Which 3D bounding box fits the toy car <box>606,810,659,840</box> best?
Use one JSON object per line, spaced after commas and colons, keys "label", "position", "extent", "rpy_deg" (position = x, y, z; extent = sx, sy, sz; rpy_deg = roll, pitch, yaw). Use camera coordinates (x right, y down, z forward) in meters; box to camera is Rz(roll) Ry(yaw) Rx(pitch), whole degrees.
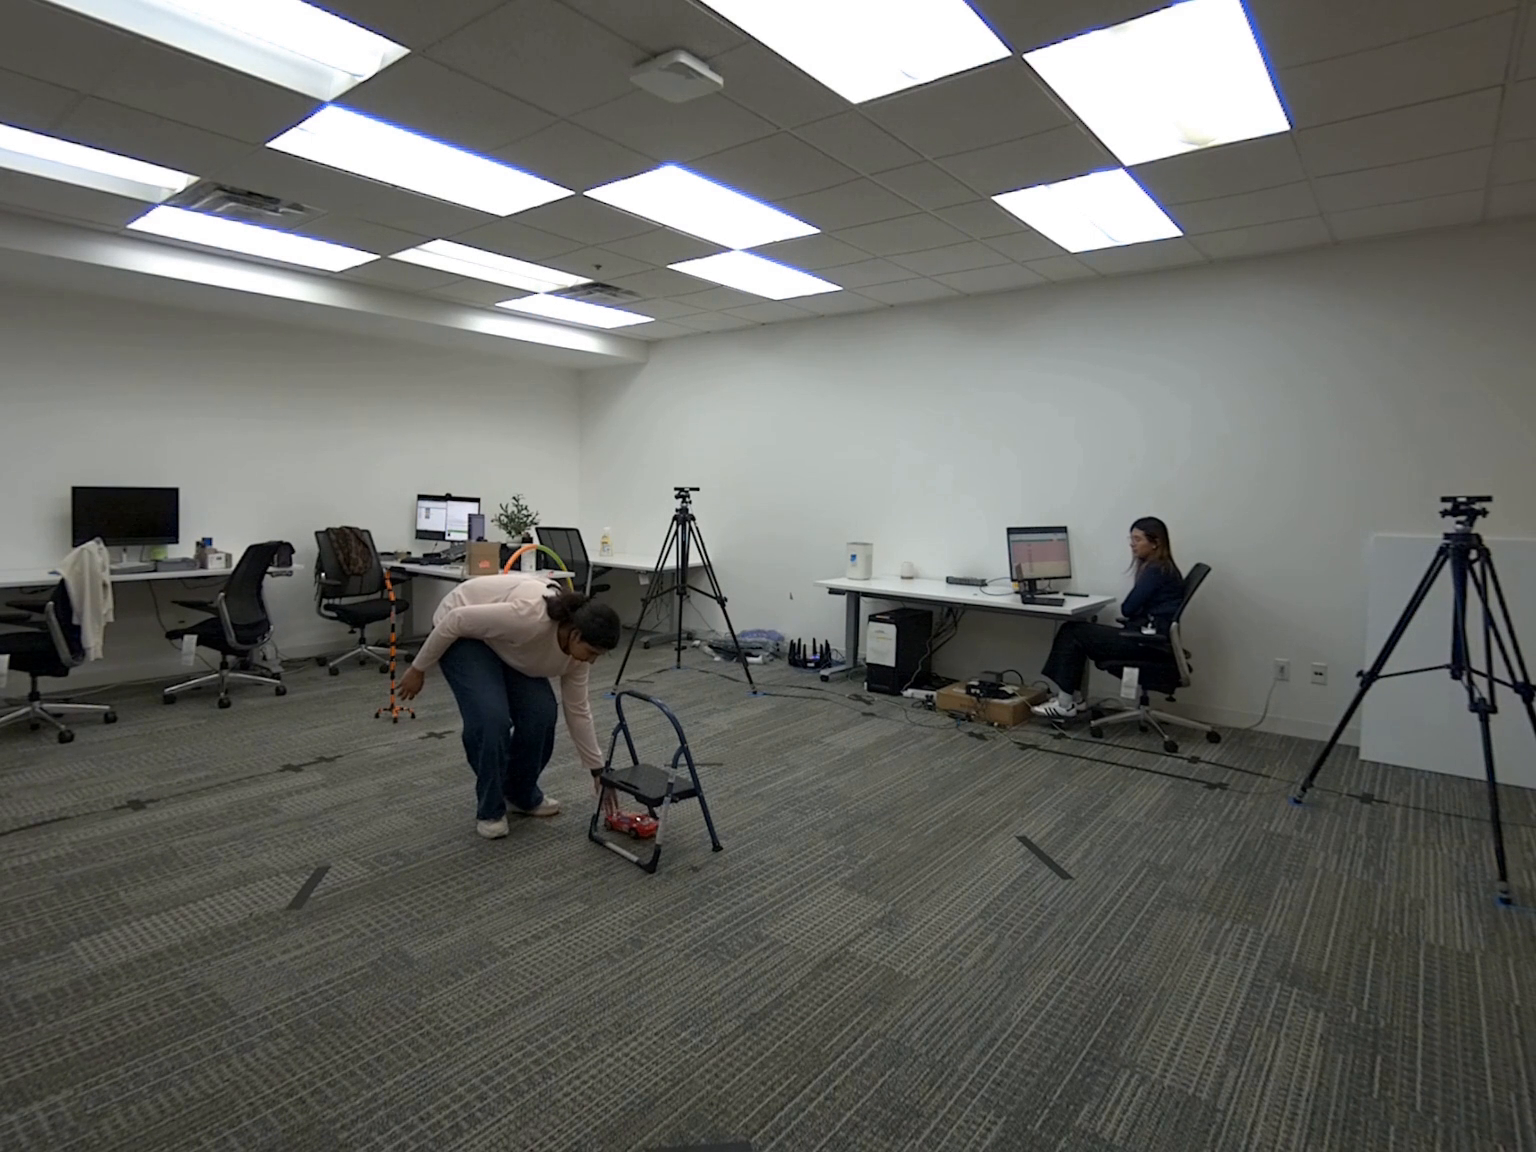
{"label": "toy car", "position": [-0.544, 1.001, 3.422], "extent": [0.261, 0.083, 0.127], "rpy_deg": [-10, -2, 38]}
